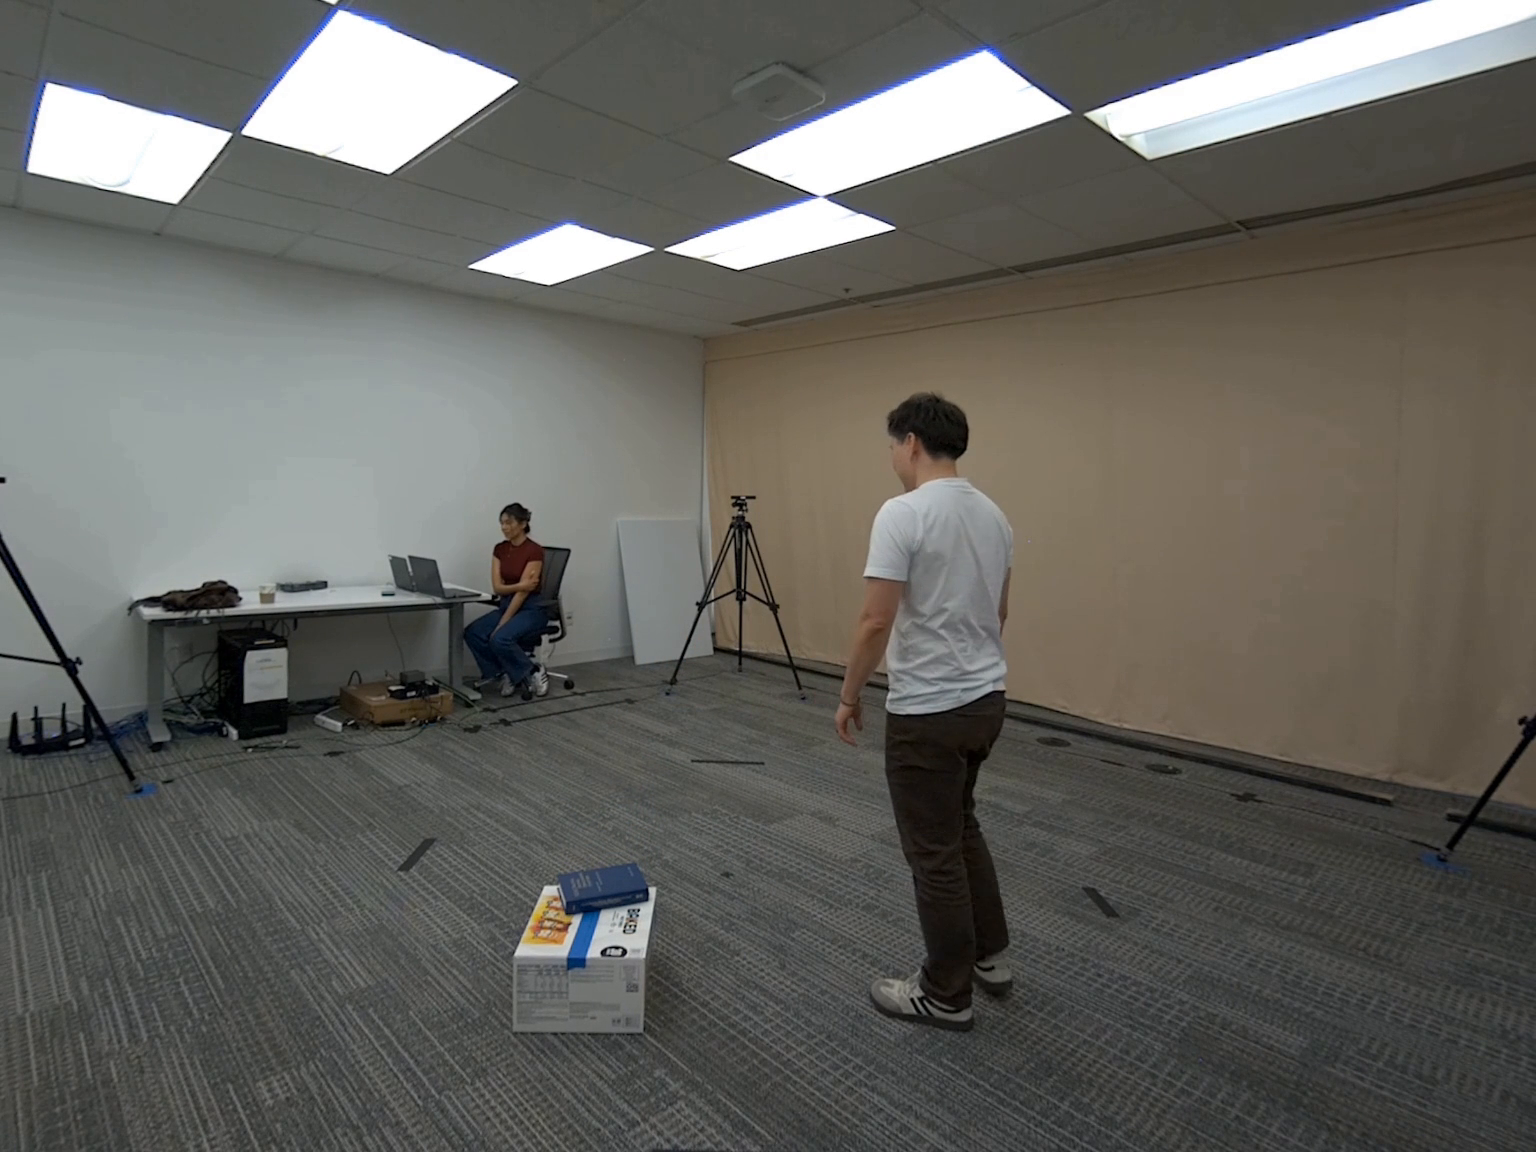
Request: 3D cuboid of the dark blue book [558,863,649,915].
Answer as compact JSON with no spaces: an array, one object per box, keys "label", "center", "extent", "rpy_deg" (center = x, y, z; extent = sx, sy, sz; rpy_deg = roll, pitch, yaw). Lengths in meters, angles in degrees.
[{"label":"dark blue book","center":[-0.498,0.926,2.498],"extent":[0.241,0.045,0.167],"rpy_deg":[-2,8,-22]}]
